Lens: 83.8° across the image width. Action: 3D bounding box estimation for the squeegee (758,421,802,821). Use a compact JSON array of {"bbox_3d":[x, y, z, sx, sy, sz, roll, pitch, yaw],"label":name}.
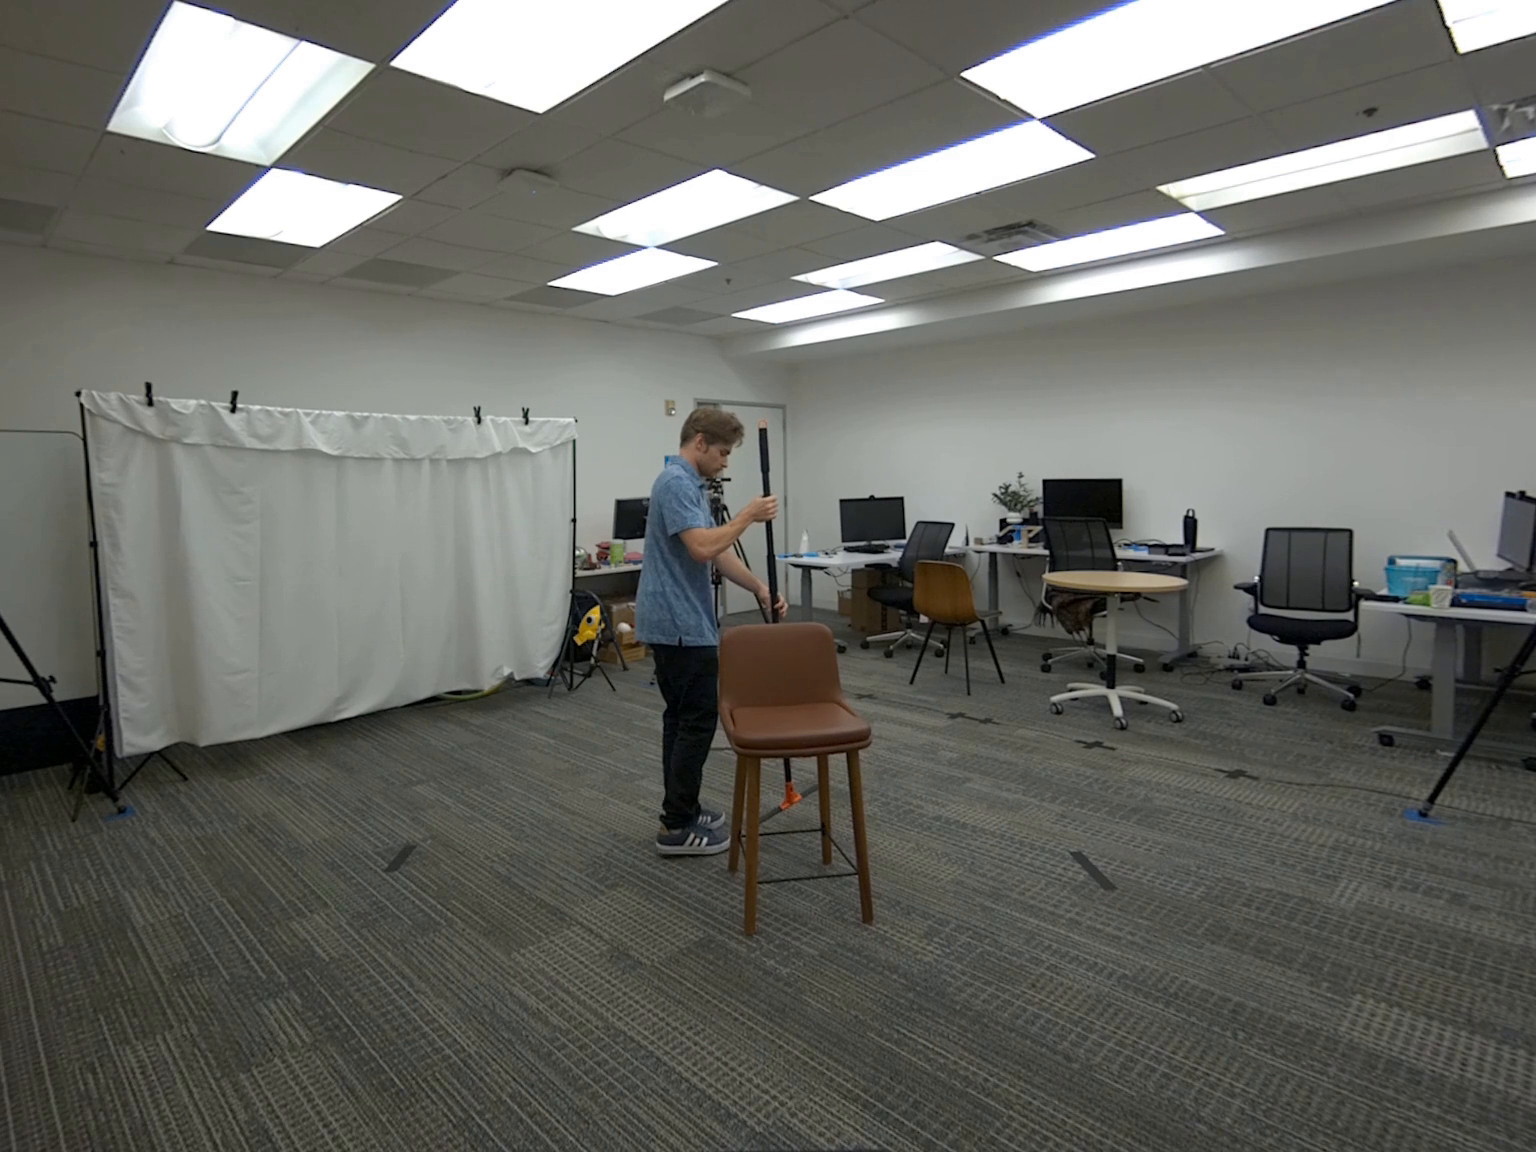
[{"bbox_3d":[0.045,0.178,3.287,0.054,1.525,0.428,3,10,40],"label":"squeegee"}]
